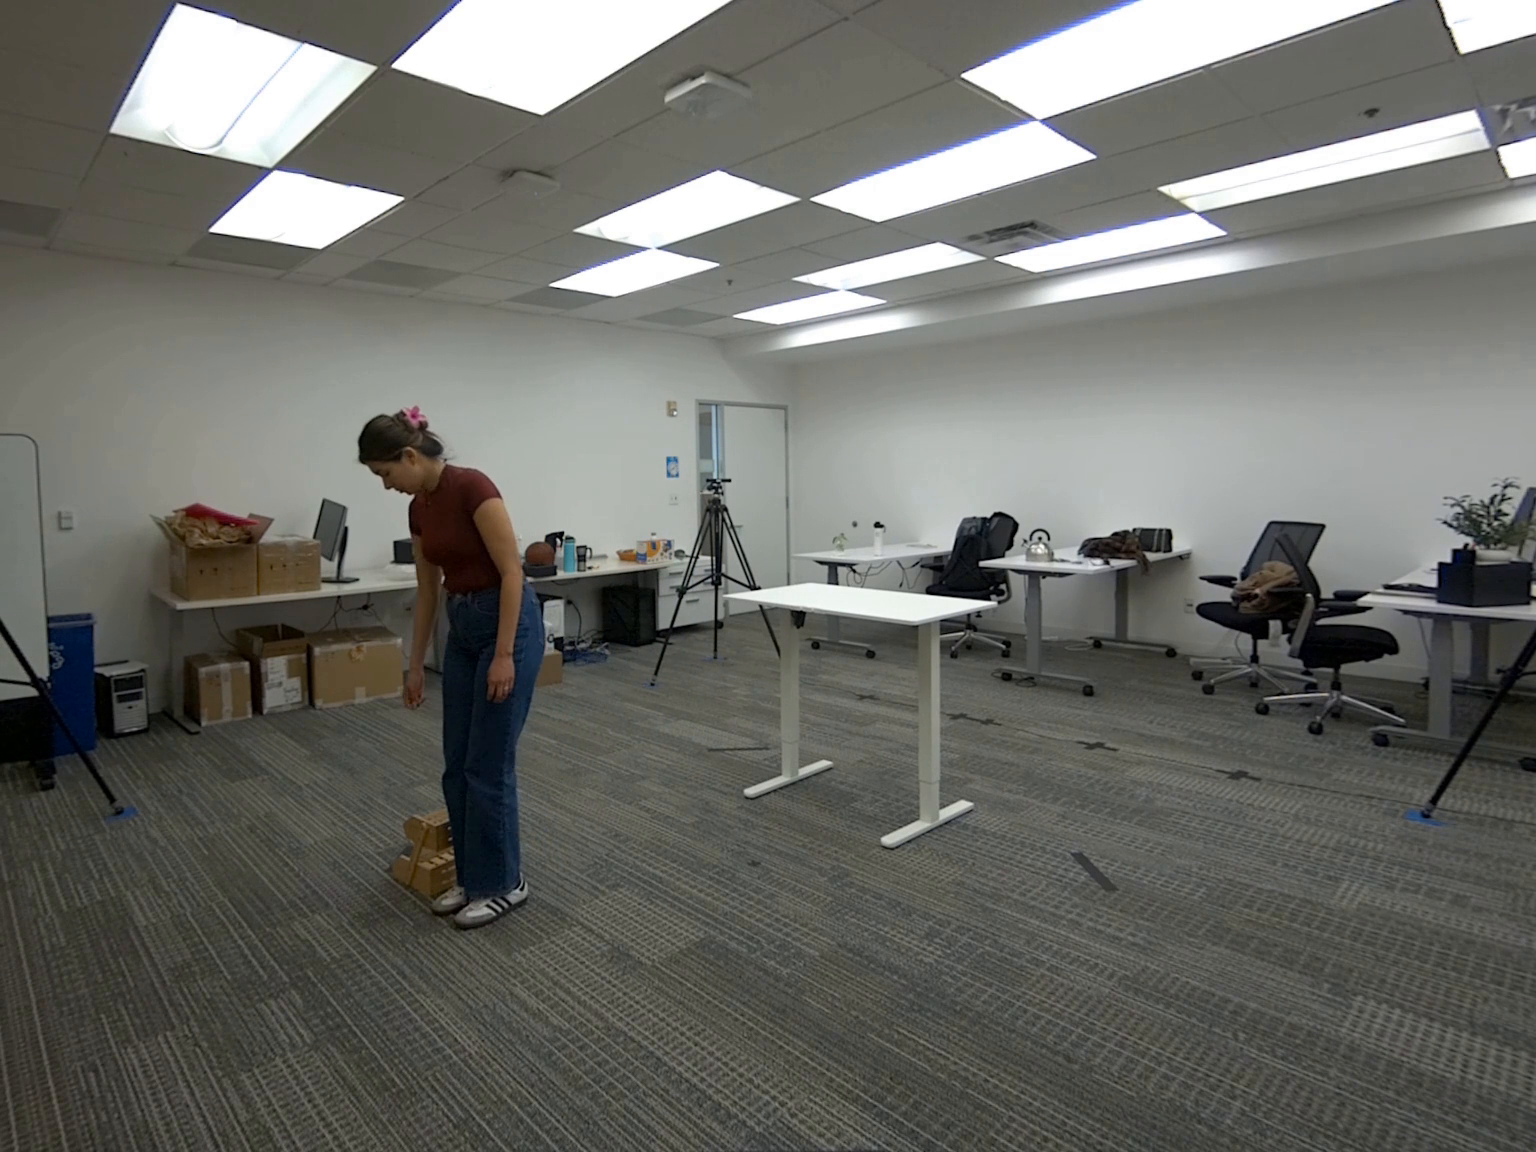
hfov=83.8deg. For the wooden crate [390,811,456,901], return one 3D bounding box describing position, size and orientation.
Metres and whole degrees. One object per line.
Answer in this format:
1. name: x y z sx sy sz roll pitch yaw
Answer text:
1. wooden crate: -1.145 0.939 3.082 0.311 0.272 0.316 3 7 38
